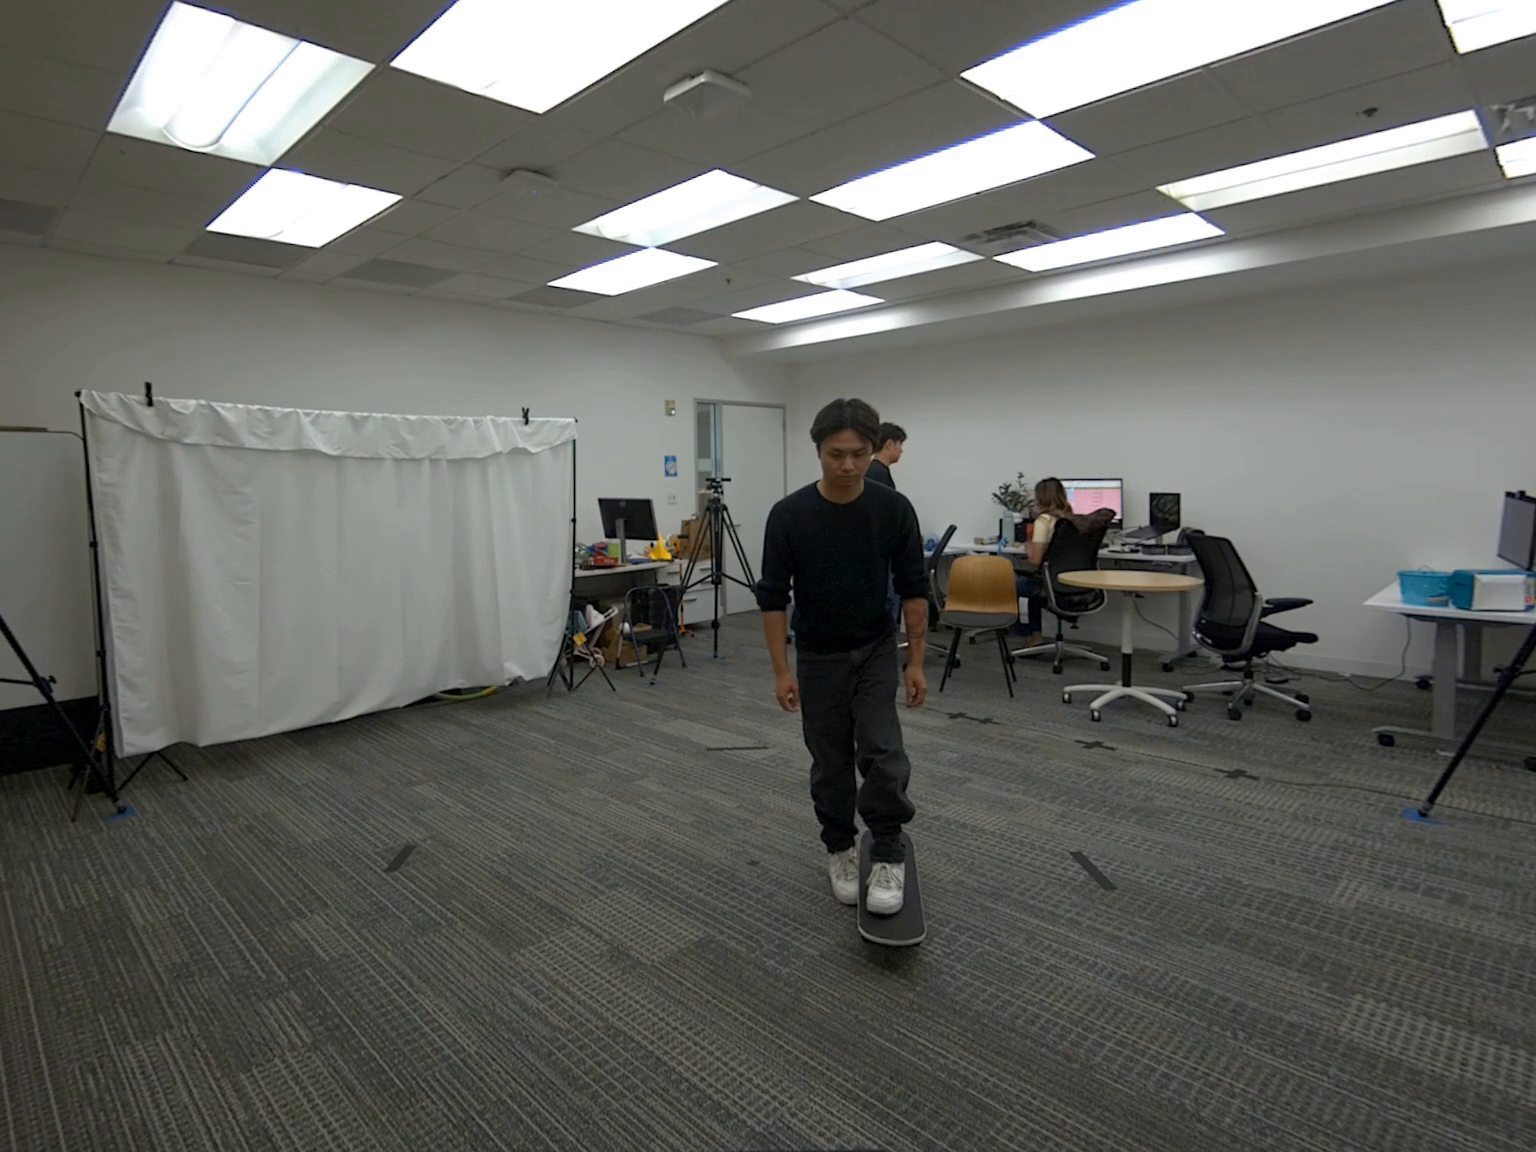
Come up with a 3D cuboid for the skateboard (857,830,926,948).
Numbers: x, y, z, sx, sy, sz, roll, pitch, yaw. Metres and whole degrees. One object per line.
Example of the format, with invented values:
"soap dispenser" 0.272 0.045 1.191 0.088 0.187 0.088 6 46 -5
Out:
"skateboard" 0.397 1.016 2.764 0.195 0.110 0.785 -1 8 5
